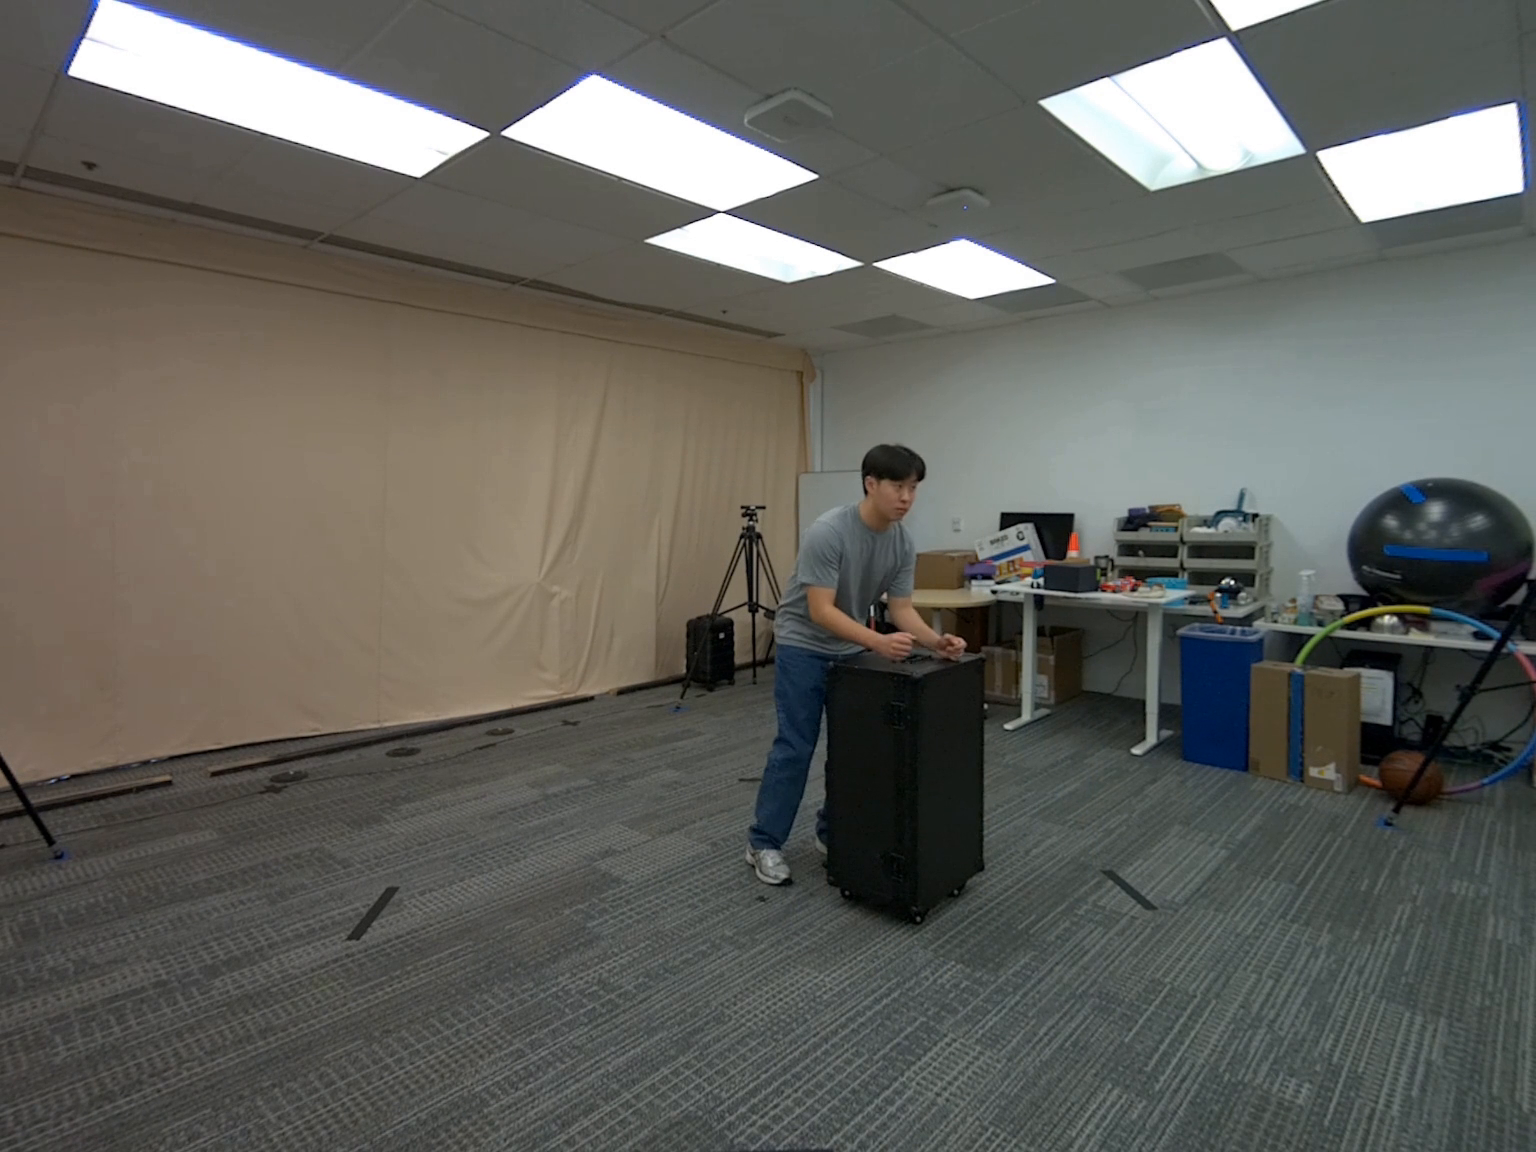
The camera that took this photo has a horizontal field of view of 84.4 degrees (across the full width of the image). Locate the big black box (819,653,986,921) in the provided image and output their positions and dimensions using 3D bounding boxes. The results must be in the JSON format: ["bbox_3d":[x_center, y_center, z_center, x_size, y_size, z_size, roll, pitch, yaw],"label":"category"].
[{"bbox_3d":[0.490,0.716,2.982,0.409,0.860,0.505,1,3,41],"label":"big black box"}]
